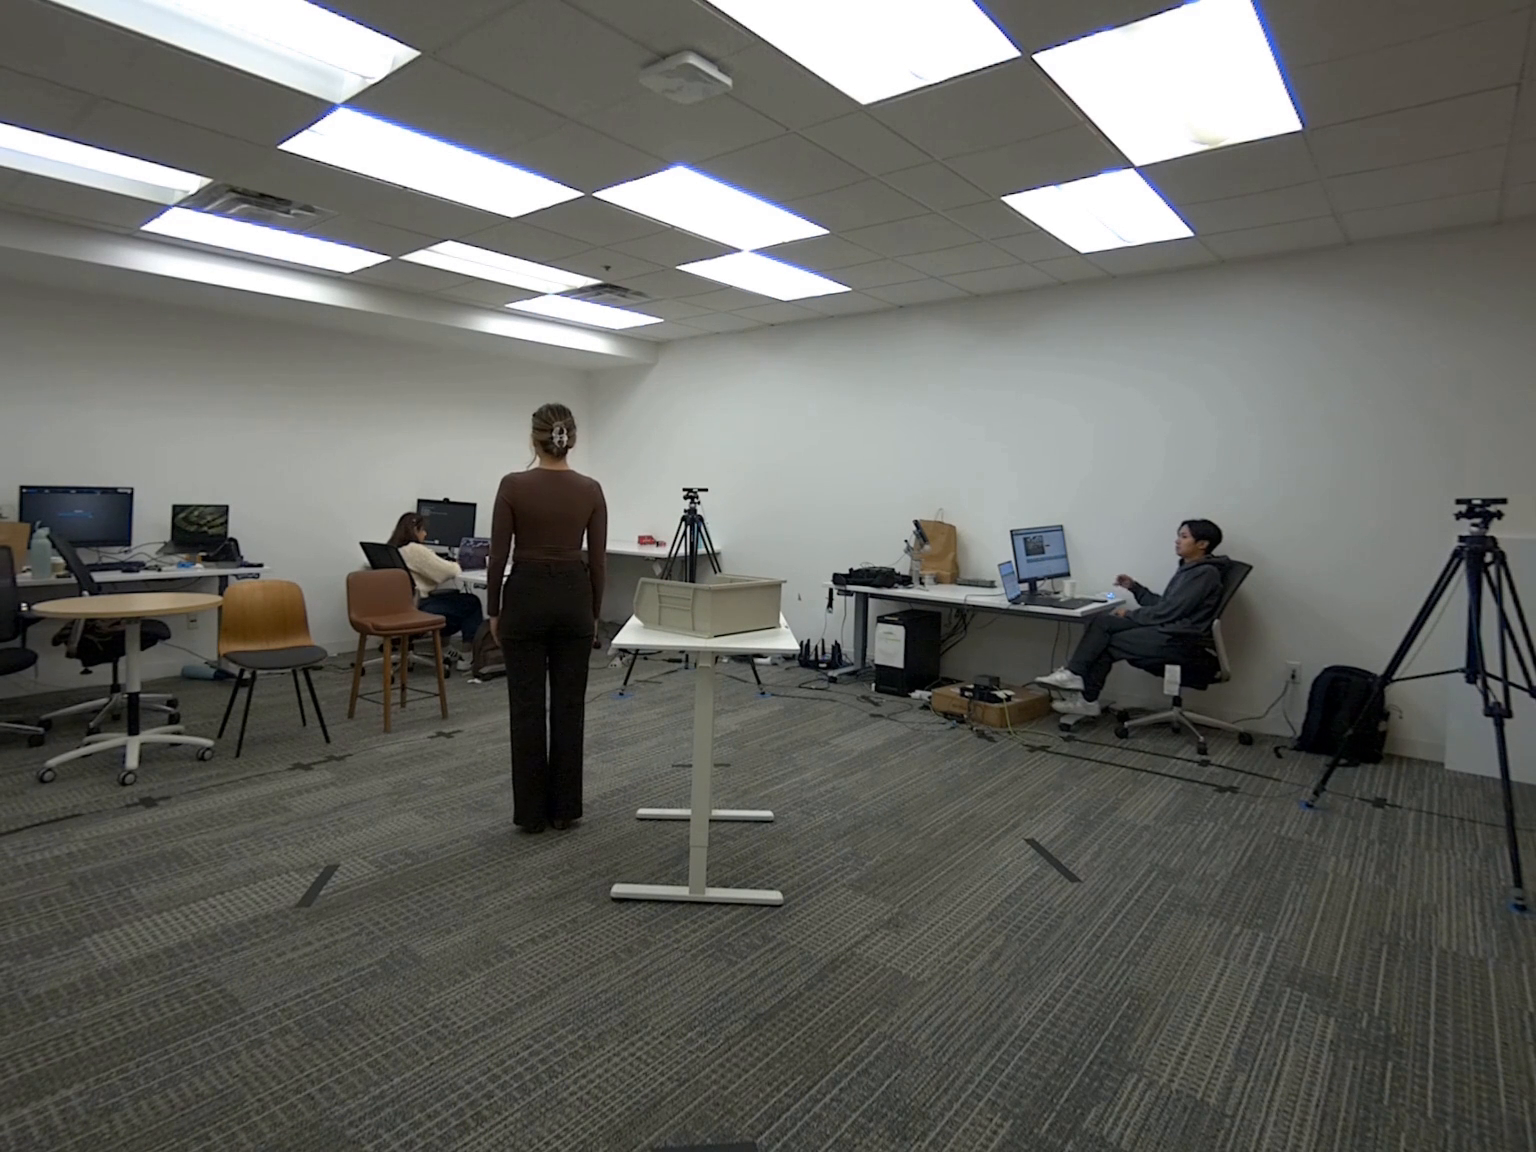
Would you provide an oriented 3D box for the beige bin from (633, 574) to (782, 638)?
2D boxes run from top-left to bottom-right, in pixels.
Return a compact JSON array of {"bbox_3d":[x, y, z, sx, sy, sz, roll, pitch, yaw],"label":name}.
[{"bbox_3d":[-0.223,0.097,3.104,0.390,0.188,0.409,7,6,39],"label":"beige bin"}]
